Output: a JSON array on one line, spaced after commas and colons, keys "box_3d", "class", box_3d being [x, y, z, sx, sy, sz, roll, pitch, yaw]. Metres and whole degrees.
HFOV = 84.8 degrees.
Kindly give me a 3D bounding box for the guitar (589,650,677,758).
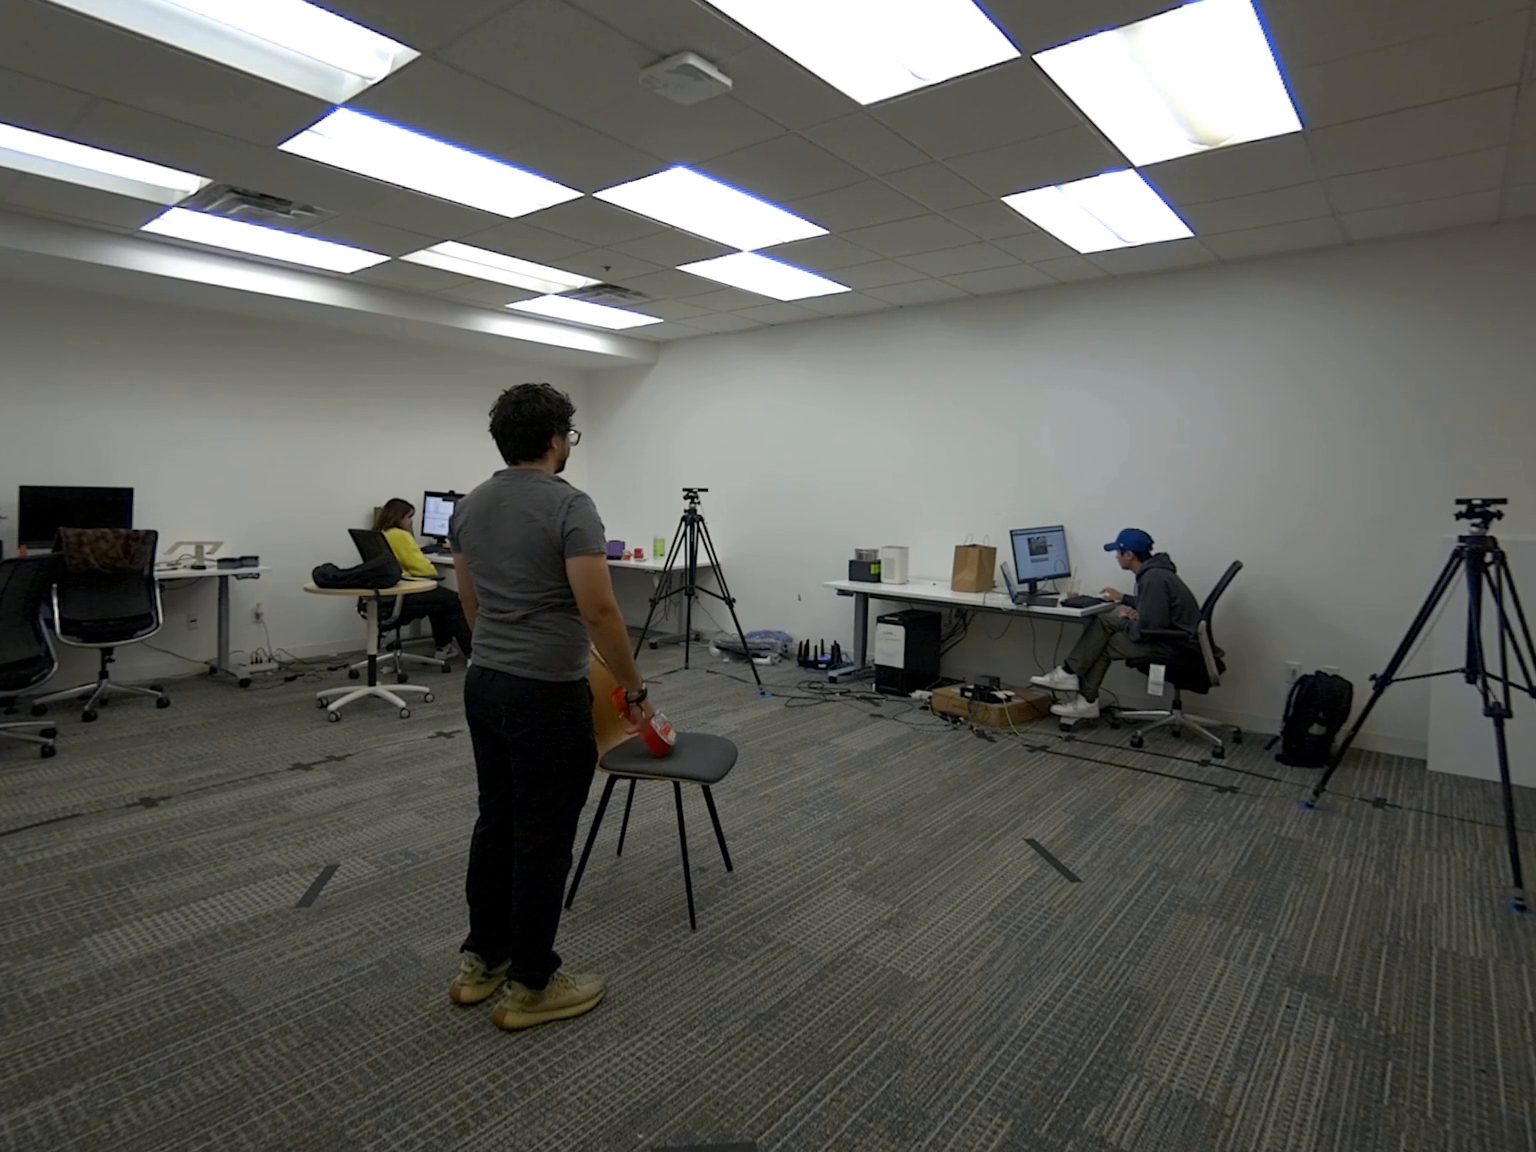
[{"box_3d": [-0.503, 0.402, 2.963, 0.071, 0.500, 0.192, -41, -3, 6], "class": "guitar"}]
